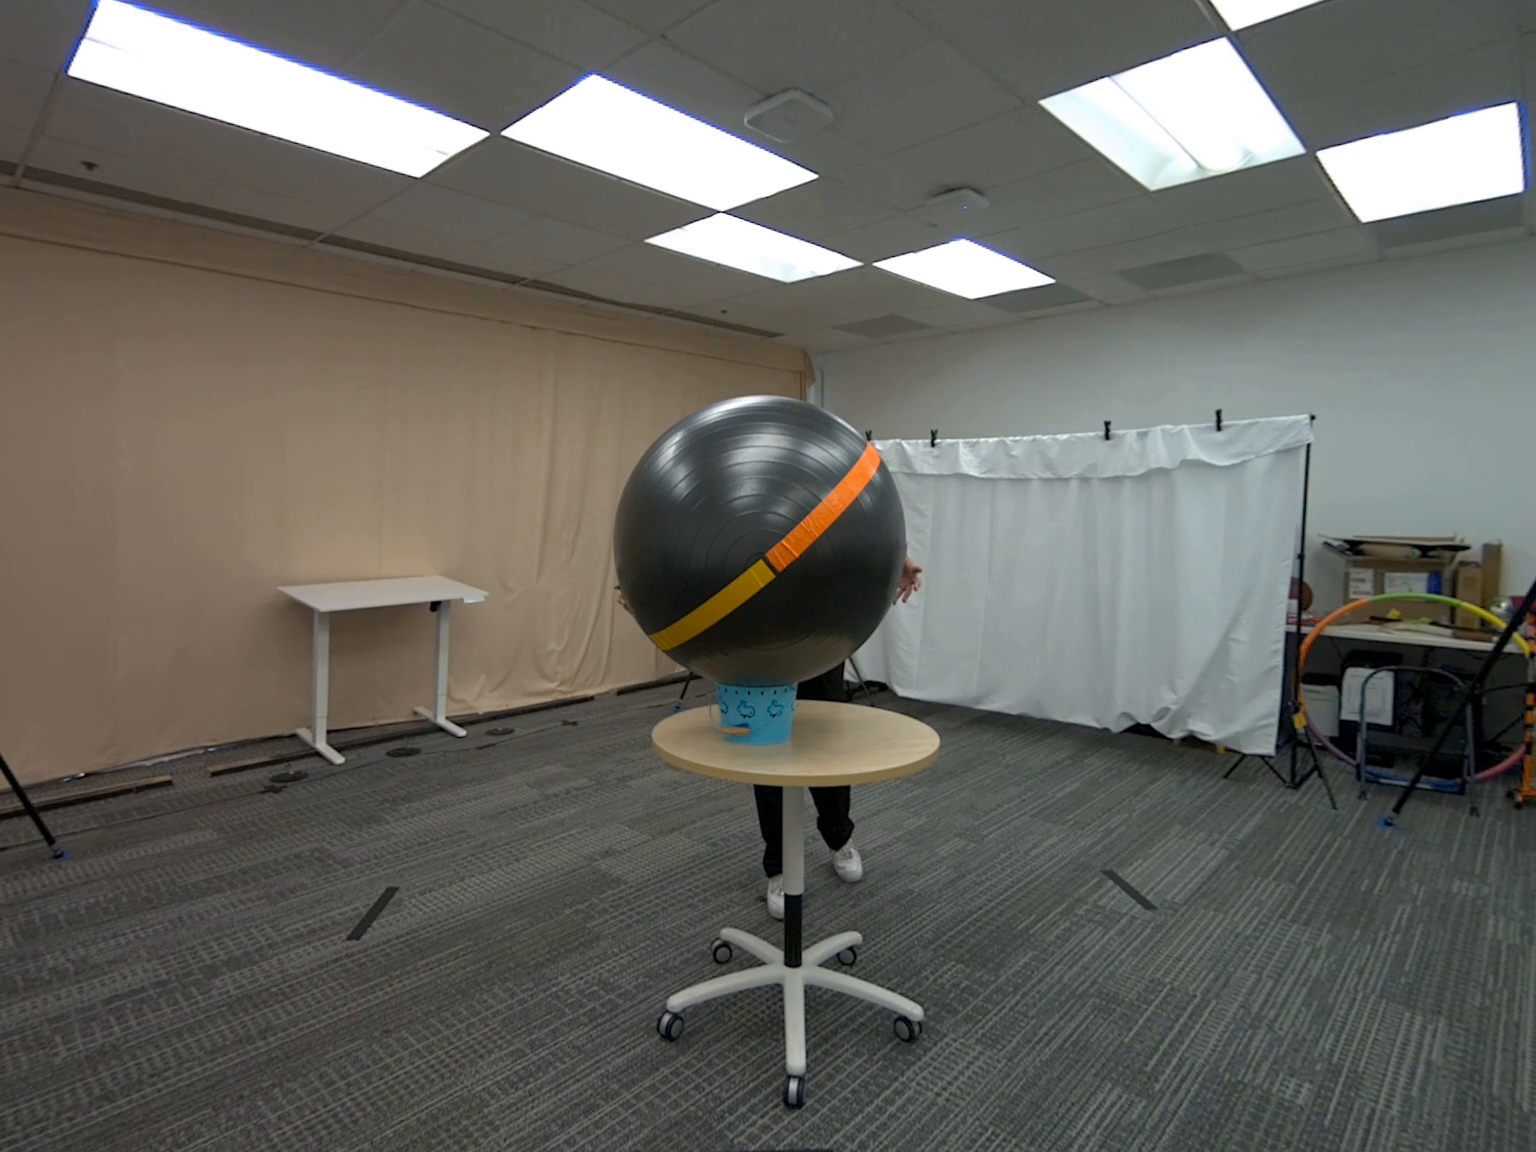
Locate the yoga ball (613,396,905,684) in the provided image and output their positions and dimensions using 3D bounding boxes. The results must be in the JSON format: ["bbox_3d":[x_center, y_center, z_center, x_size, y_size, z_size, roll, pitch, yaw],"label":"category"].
[{"bbox_3d":[-0.023,-0.087,2.199,0.757,0.756,0.760,0,4,-2],"label":"yoga ball"}]
